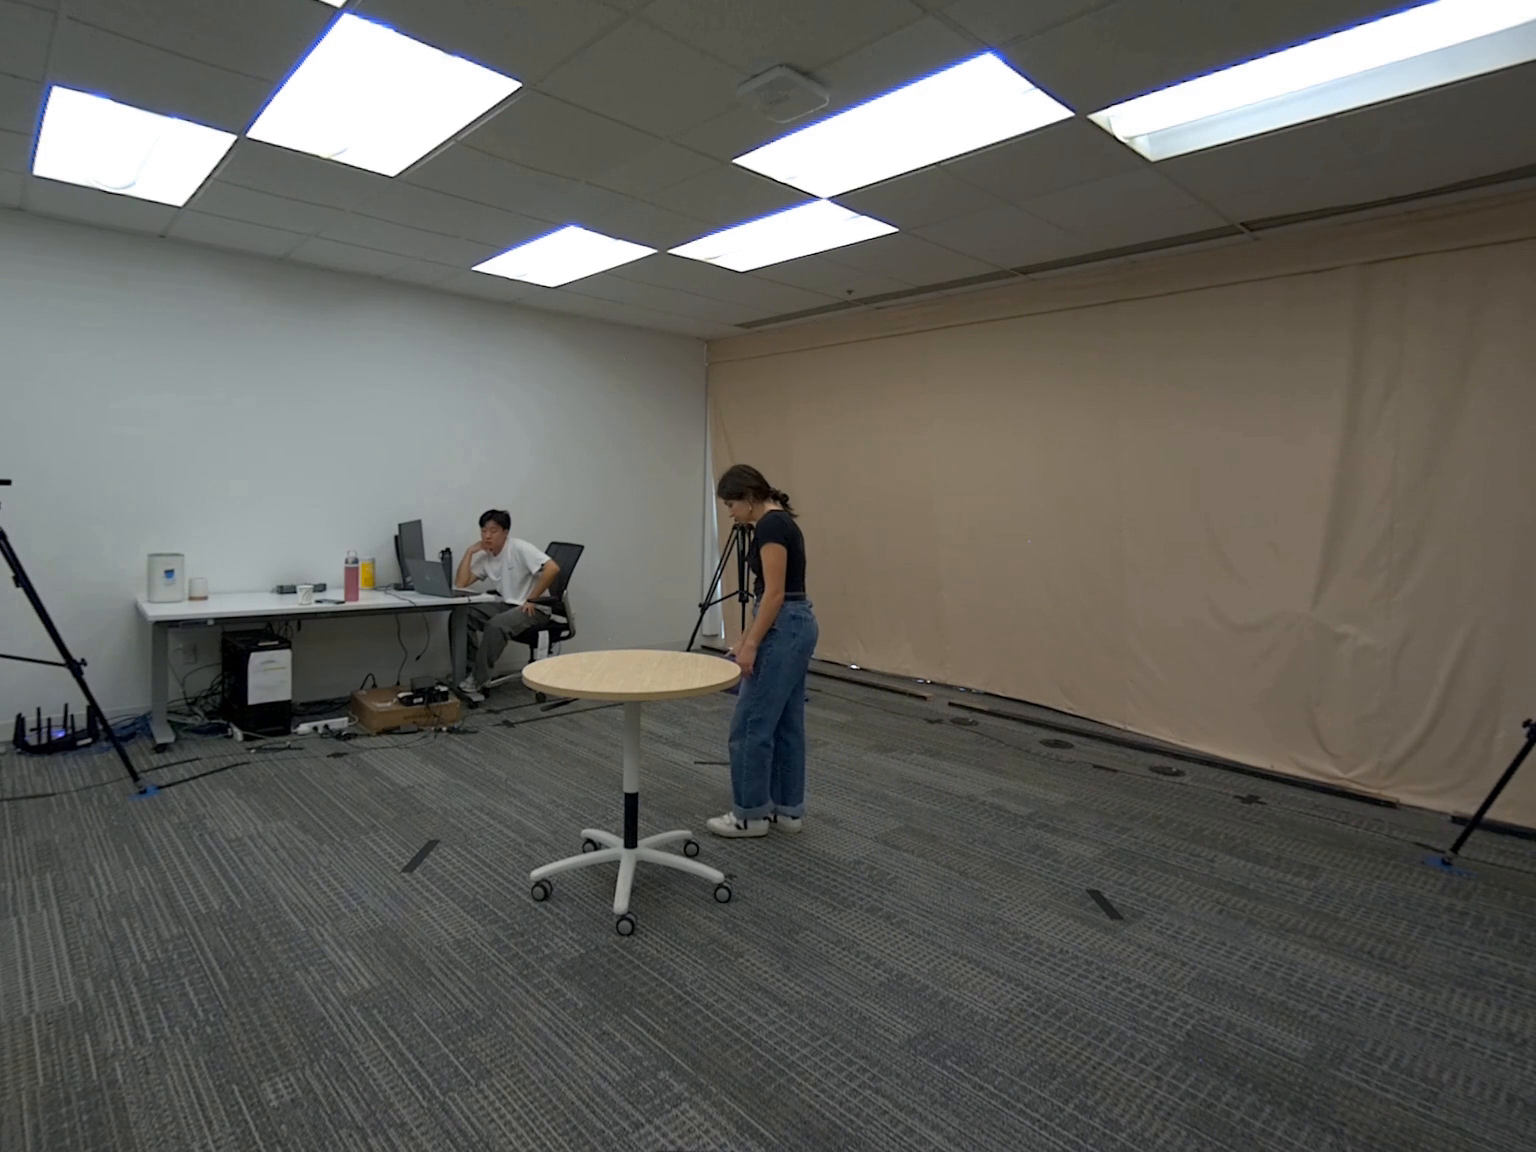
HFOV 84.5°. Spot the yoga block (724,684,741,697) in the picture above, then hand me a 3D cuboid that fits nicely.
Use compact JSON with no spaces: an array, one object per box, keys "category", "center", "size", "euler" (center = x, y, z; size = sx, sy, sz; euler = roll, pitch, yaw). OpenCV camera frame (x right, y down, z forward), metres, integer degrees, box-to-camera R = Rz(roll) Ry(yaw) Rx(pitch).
[{"category":"yoga block","center":[-0.141,0.453,3.739],"size":[0.224,0.151,0.077],"euler":[16,-21,-26]}]
